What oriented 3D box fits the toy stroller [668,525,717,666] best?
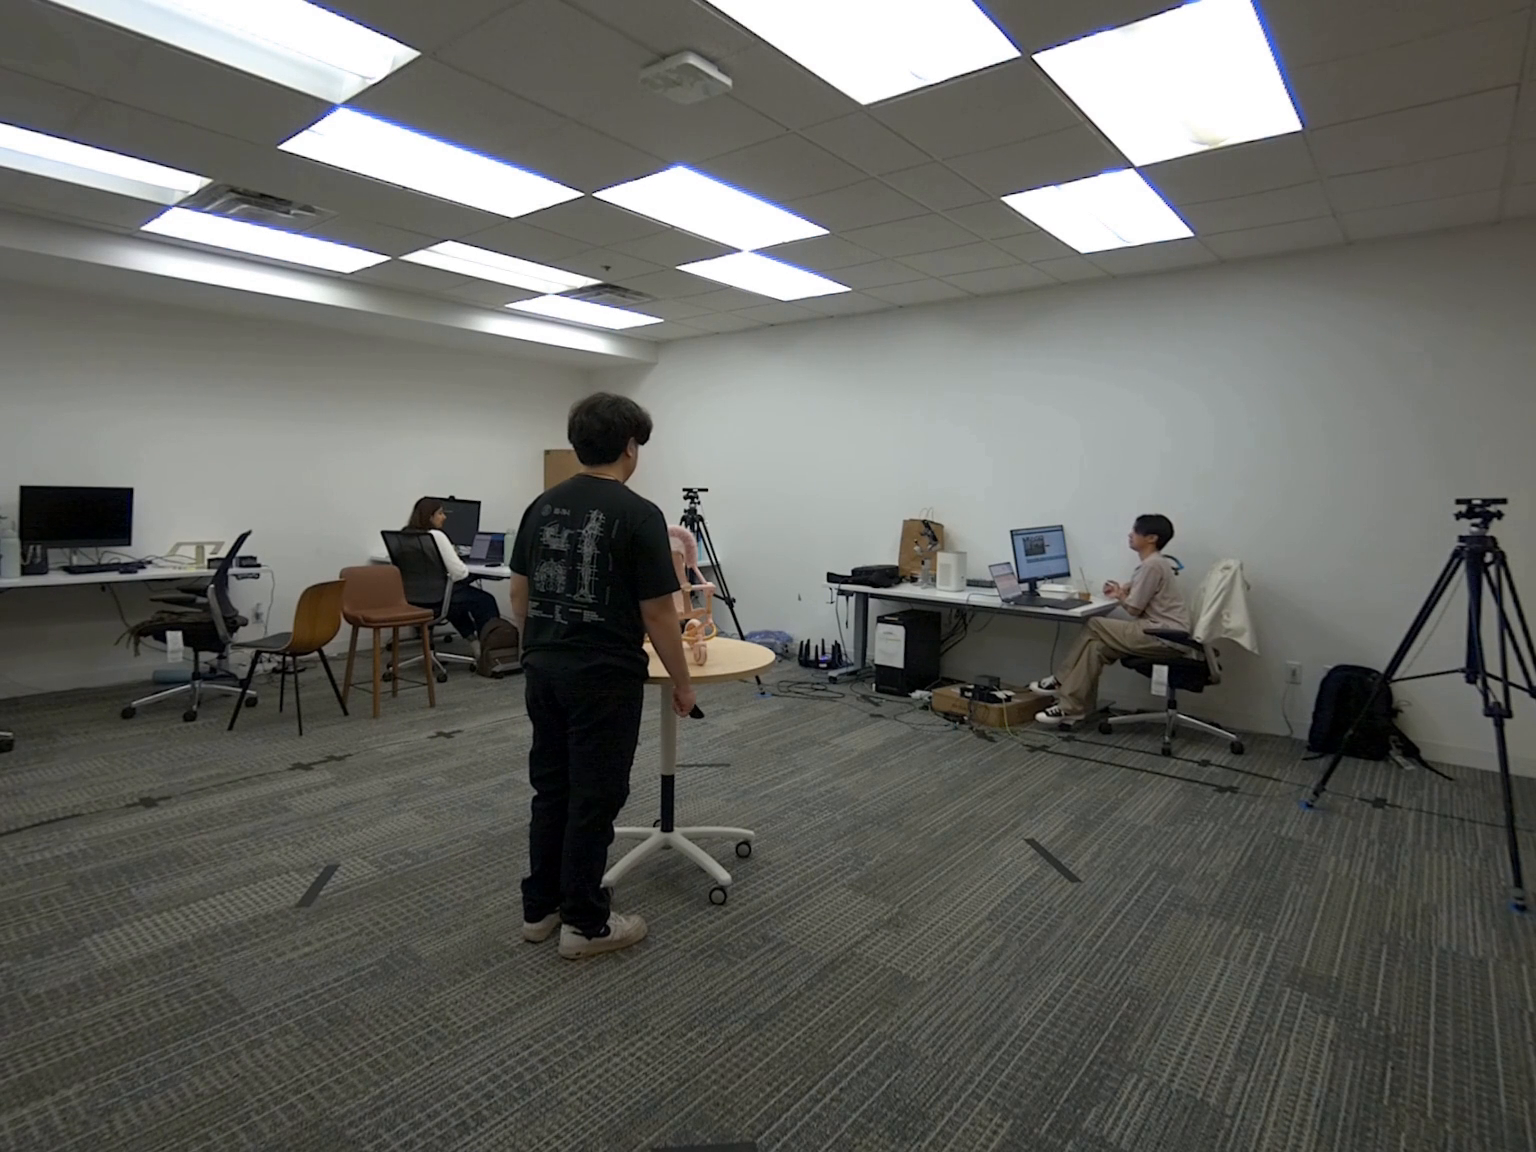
[{"bbox_3d":[-0.342,0.055,3.029,0.274,0.540,0.348,-1,-9,-31],"label":"toy stroller"}]
